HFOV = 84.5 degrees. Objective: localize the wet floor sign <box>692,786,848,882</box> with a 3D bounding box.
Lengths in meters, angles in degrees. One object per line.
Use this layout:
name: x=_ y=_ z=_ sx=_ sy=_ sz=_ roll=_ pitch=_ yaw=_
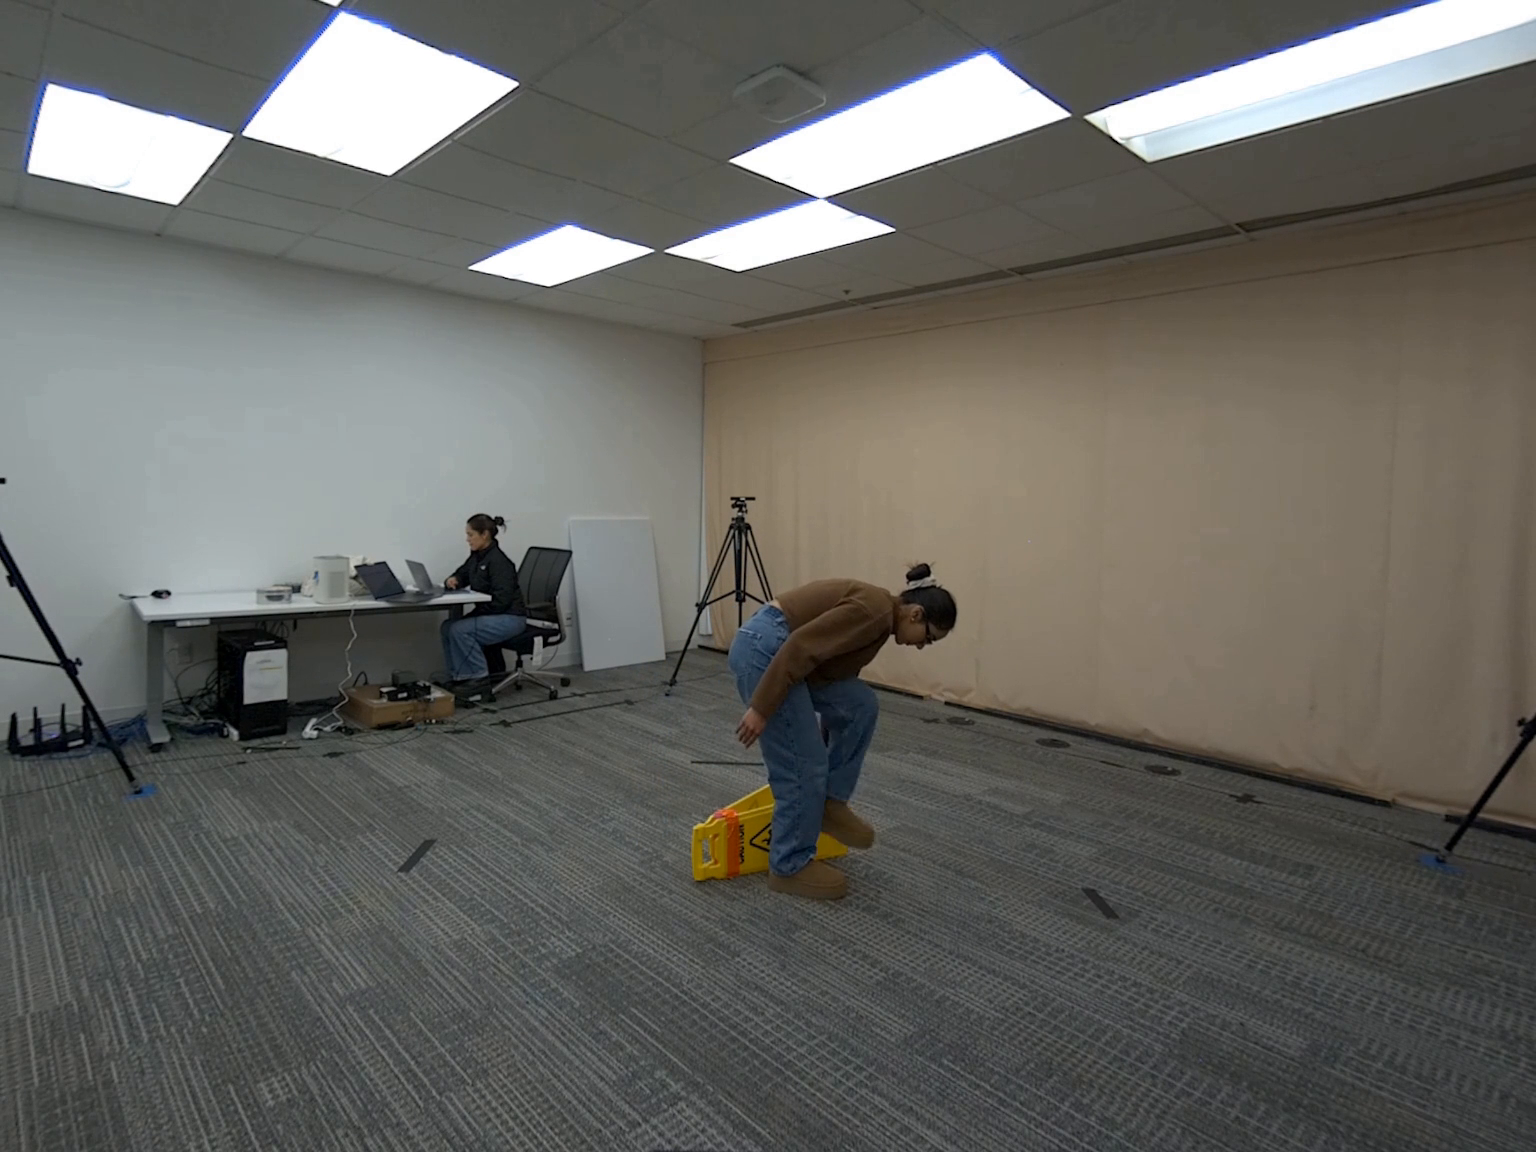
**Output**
wet floor sign: x=-0.019 y=0.974 z=3.217 sx=0.632 sy=0.281 sz=0.297 roll=-6 pitch=7 yaw=-38
